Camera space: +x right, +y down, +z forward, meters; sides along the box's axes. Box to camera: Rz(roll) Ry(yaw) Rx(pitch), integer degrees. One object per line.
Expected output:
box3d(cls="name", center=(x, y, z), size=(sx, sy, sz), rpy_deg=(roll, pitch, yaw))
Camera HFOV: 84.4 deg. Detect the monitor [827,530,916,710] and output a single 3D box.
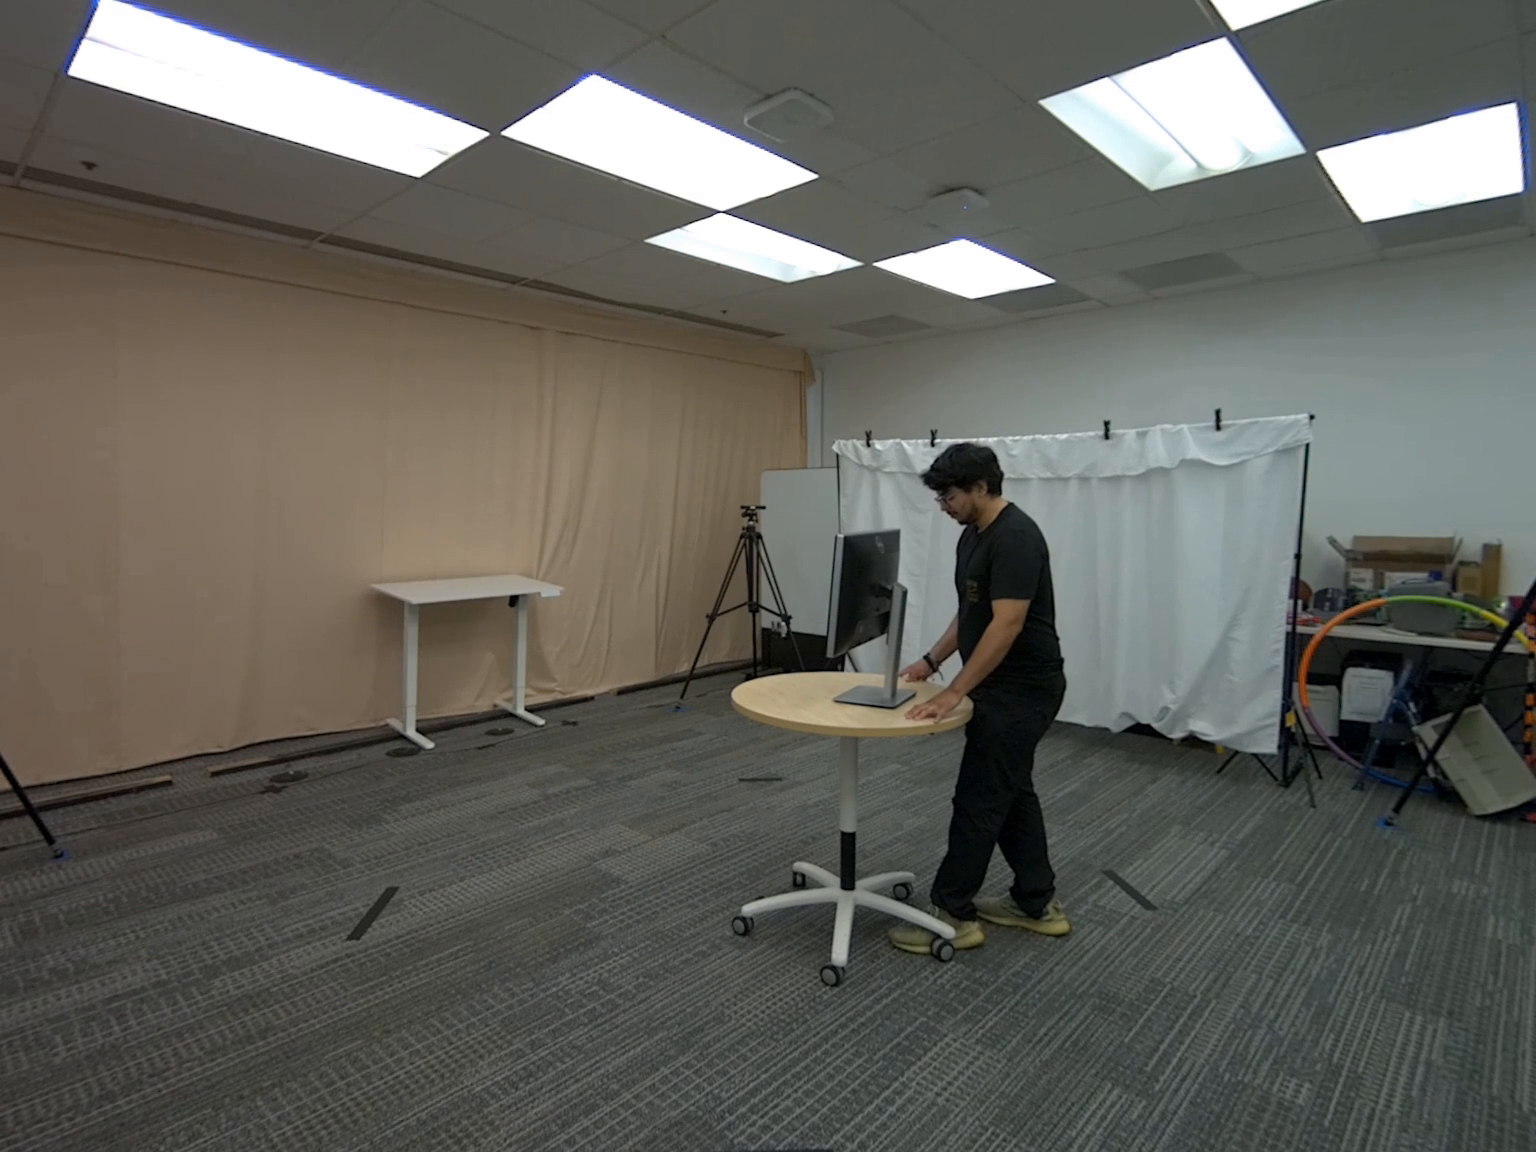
box3d(cls="monitor", center=(0.377, 0.135, 2.664), size=(0.216, 0.552, 0.551), rpy_deg=(4, 6, 28))
